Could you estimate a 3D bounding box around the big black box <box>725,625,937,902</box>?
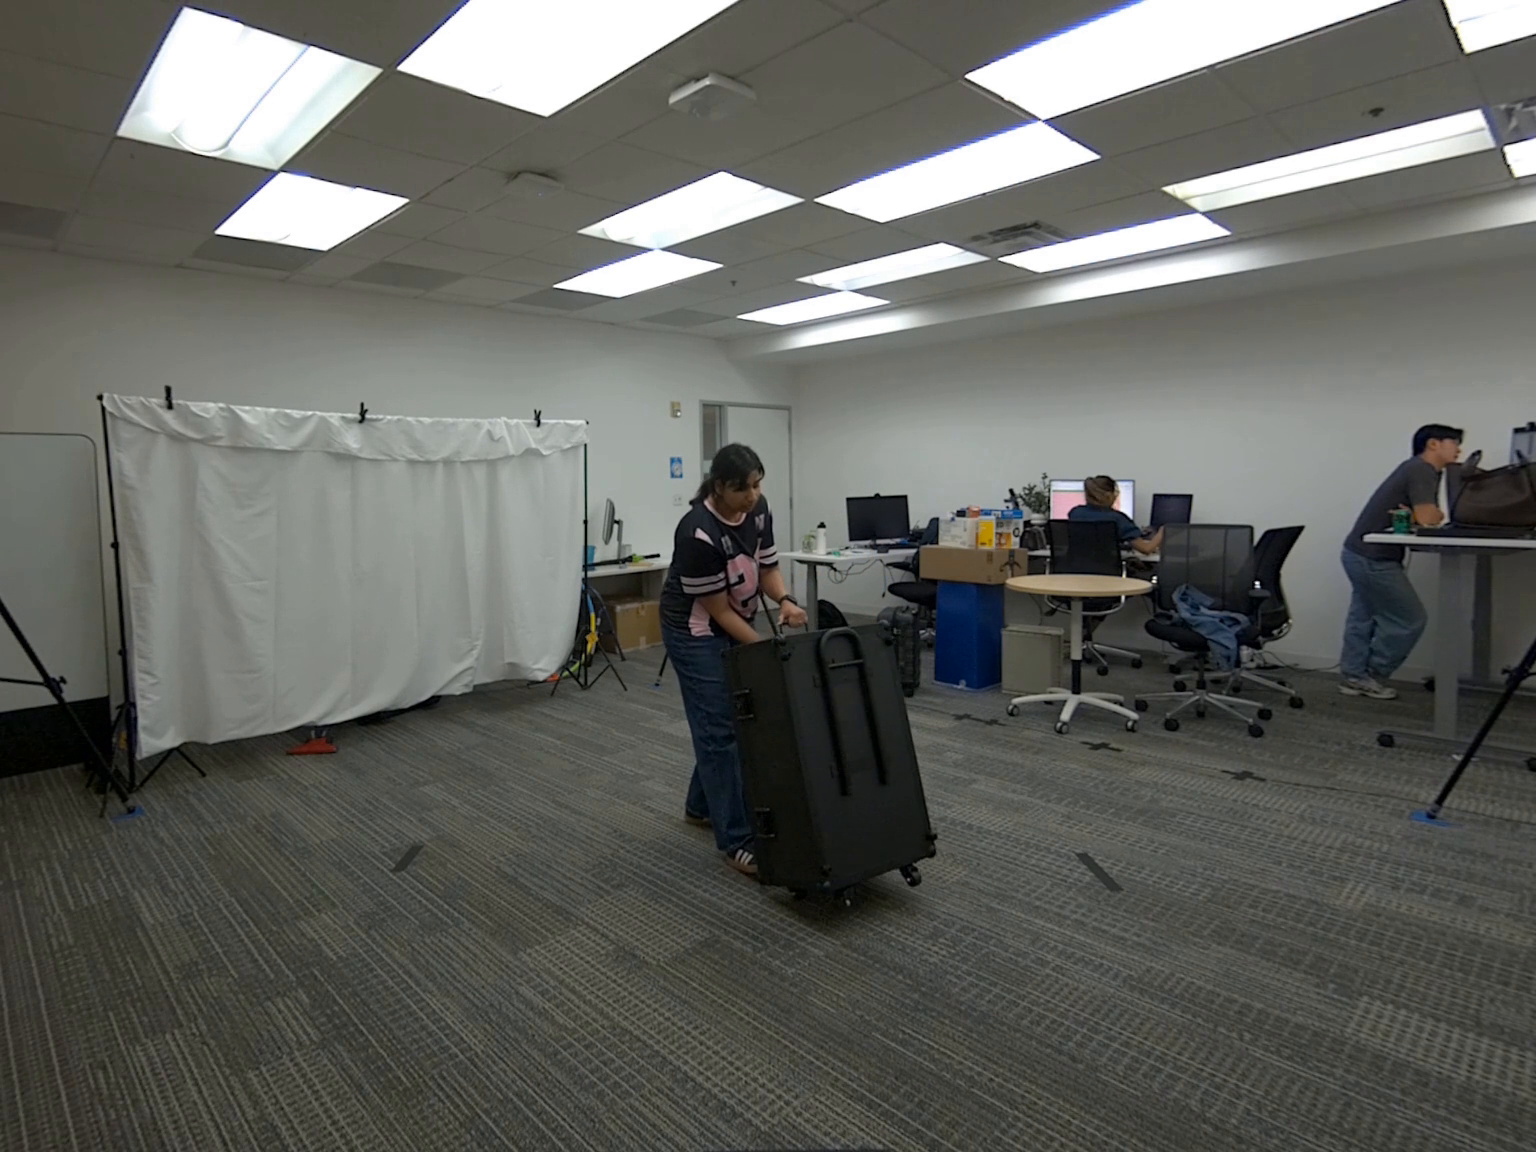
[{"bbox_3d":[0.215,0.629,2.890,0.510,0.878,0.390,-4,-12,-34],"label":"big black box"}]
